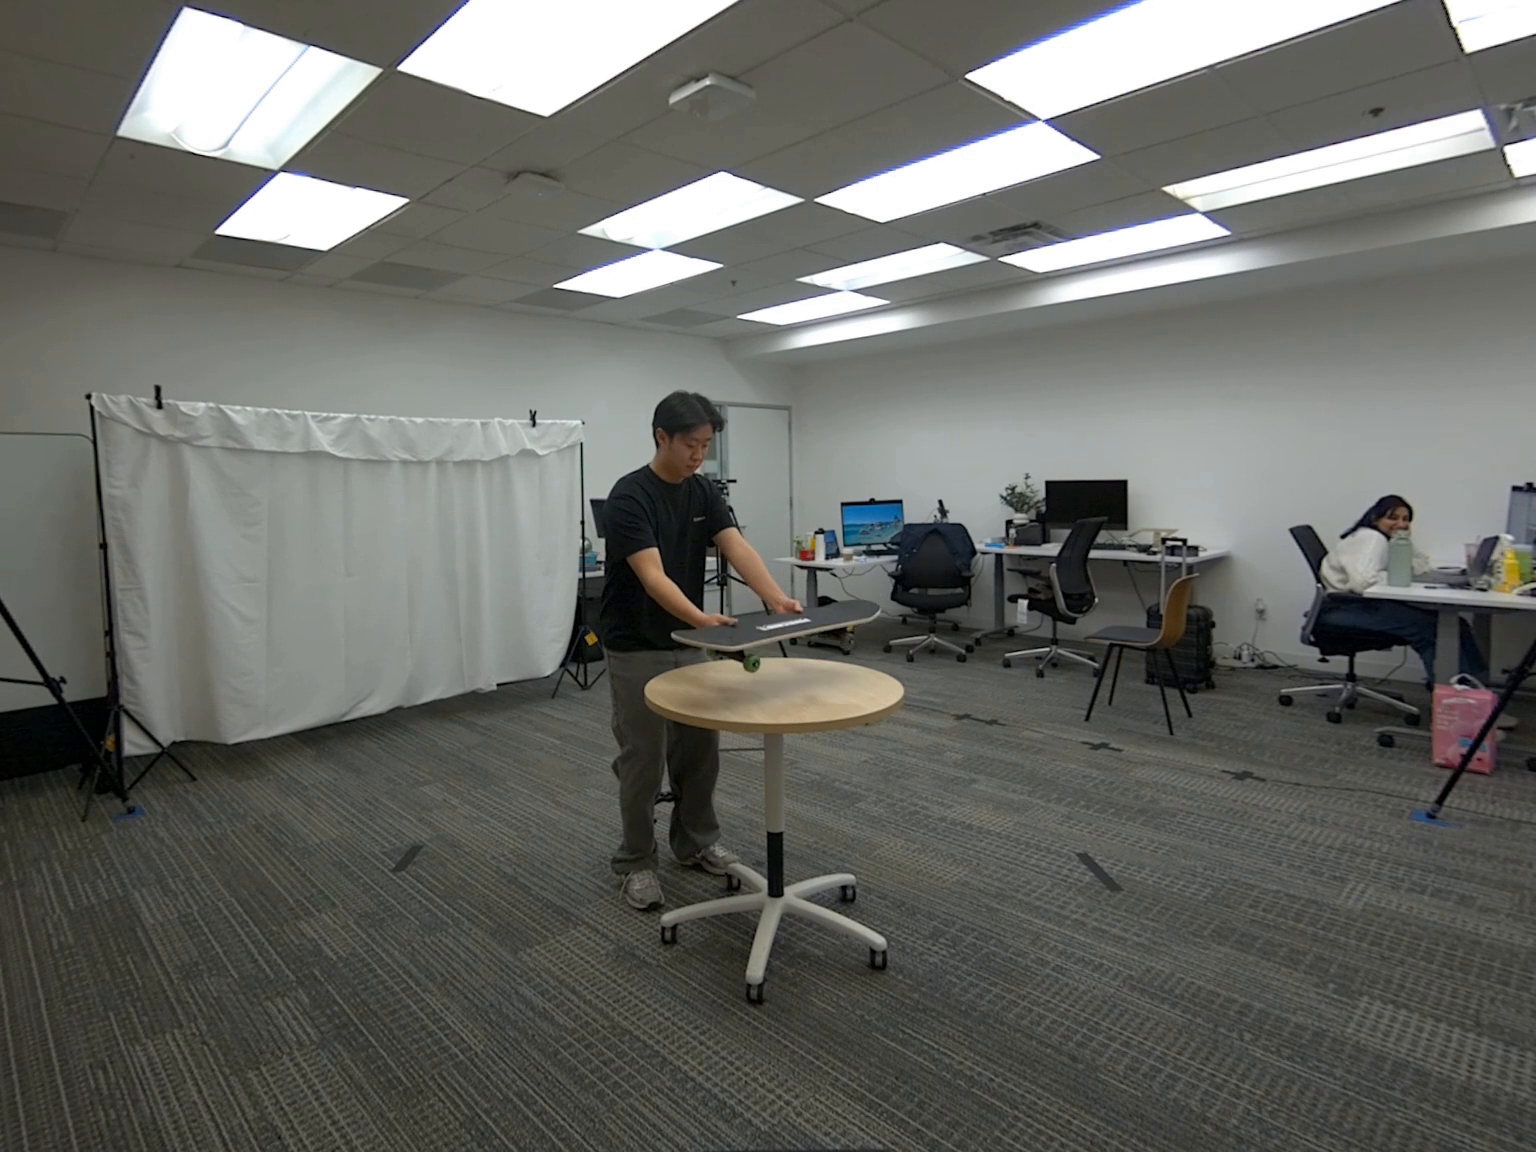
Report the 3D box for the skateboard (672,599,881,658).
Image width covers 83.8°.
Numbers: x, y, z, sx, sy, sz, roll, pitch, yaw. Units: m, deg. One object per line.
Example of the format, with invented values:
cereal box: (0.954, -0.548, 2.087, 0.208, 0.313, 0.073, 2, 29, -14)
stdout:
skateboard: (0.052, 0.171, 2.479, 0.766, 0.109, 0.200, -6, 14, -37)
